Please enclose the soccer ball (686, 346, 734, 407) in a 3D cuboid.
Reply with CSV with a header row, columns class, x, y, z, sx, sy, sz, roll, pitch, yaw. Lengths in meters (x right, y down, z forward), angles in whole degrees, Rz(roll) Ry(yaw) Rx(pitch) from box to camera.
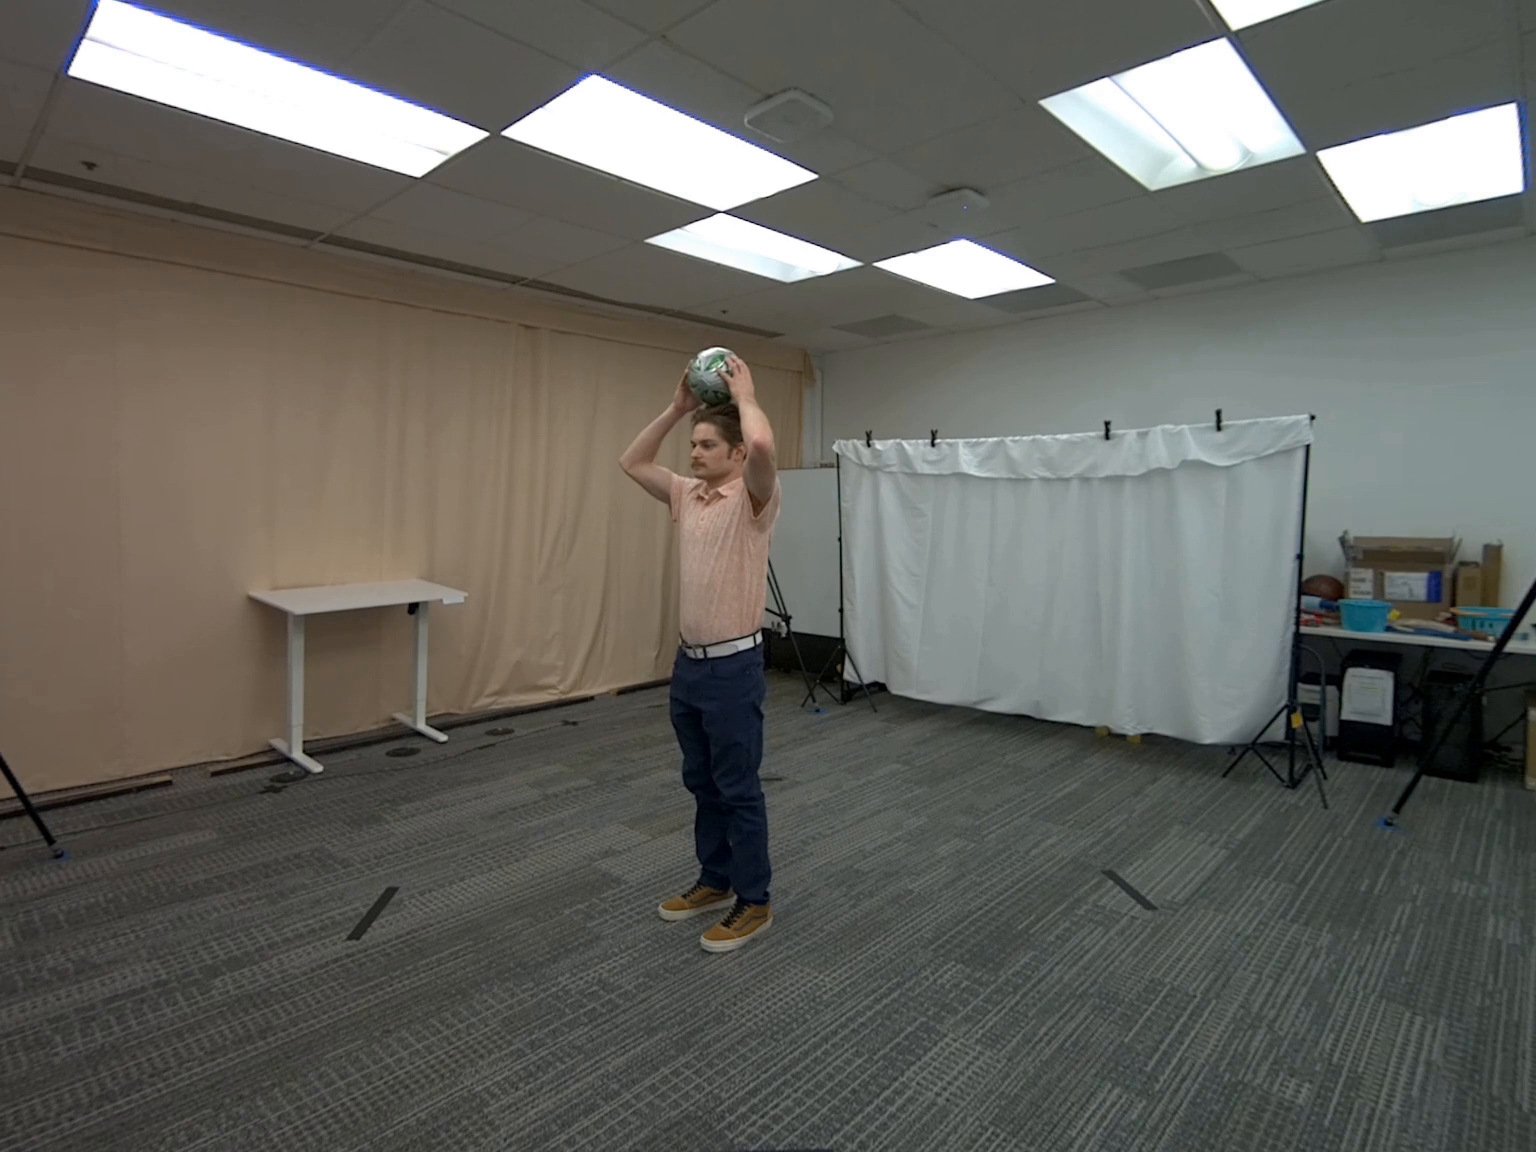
class,x,y,z,sx,sy,sz,roll,pitch,yaw
soccer ball,-0.160,-0.650,2.744,0.187,0.187,0.188,0,4,-2
